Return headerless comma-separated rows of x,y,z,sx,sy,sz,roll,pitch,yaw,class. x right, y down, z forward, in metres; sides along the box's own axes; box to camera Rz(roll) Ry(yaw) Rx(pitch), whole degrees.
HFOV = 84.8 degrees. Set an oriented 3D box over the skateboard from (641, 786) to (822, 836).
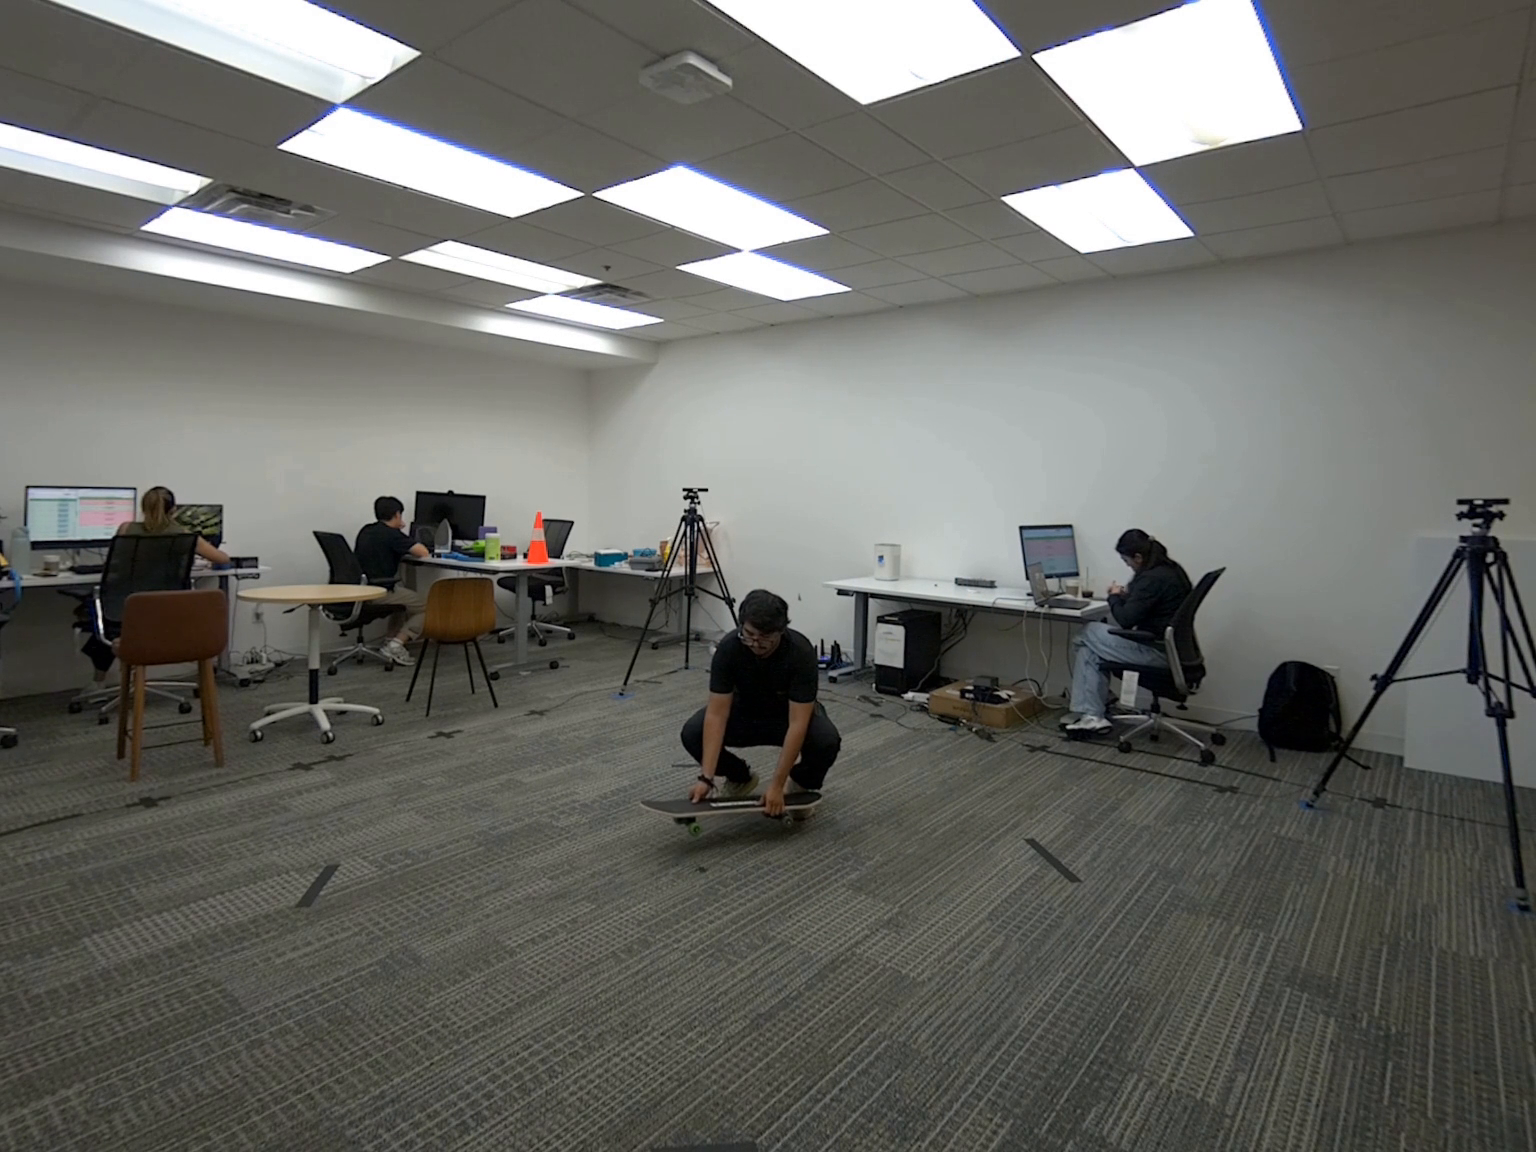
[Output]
-0.144,0.936,3.376,0.766,0.110,0.198,3,-1,-23,skateboard
